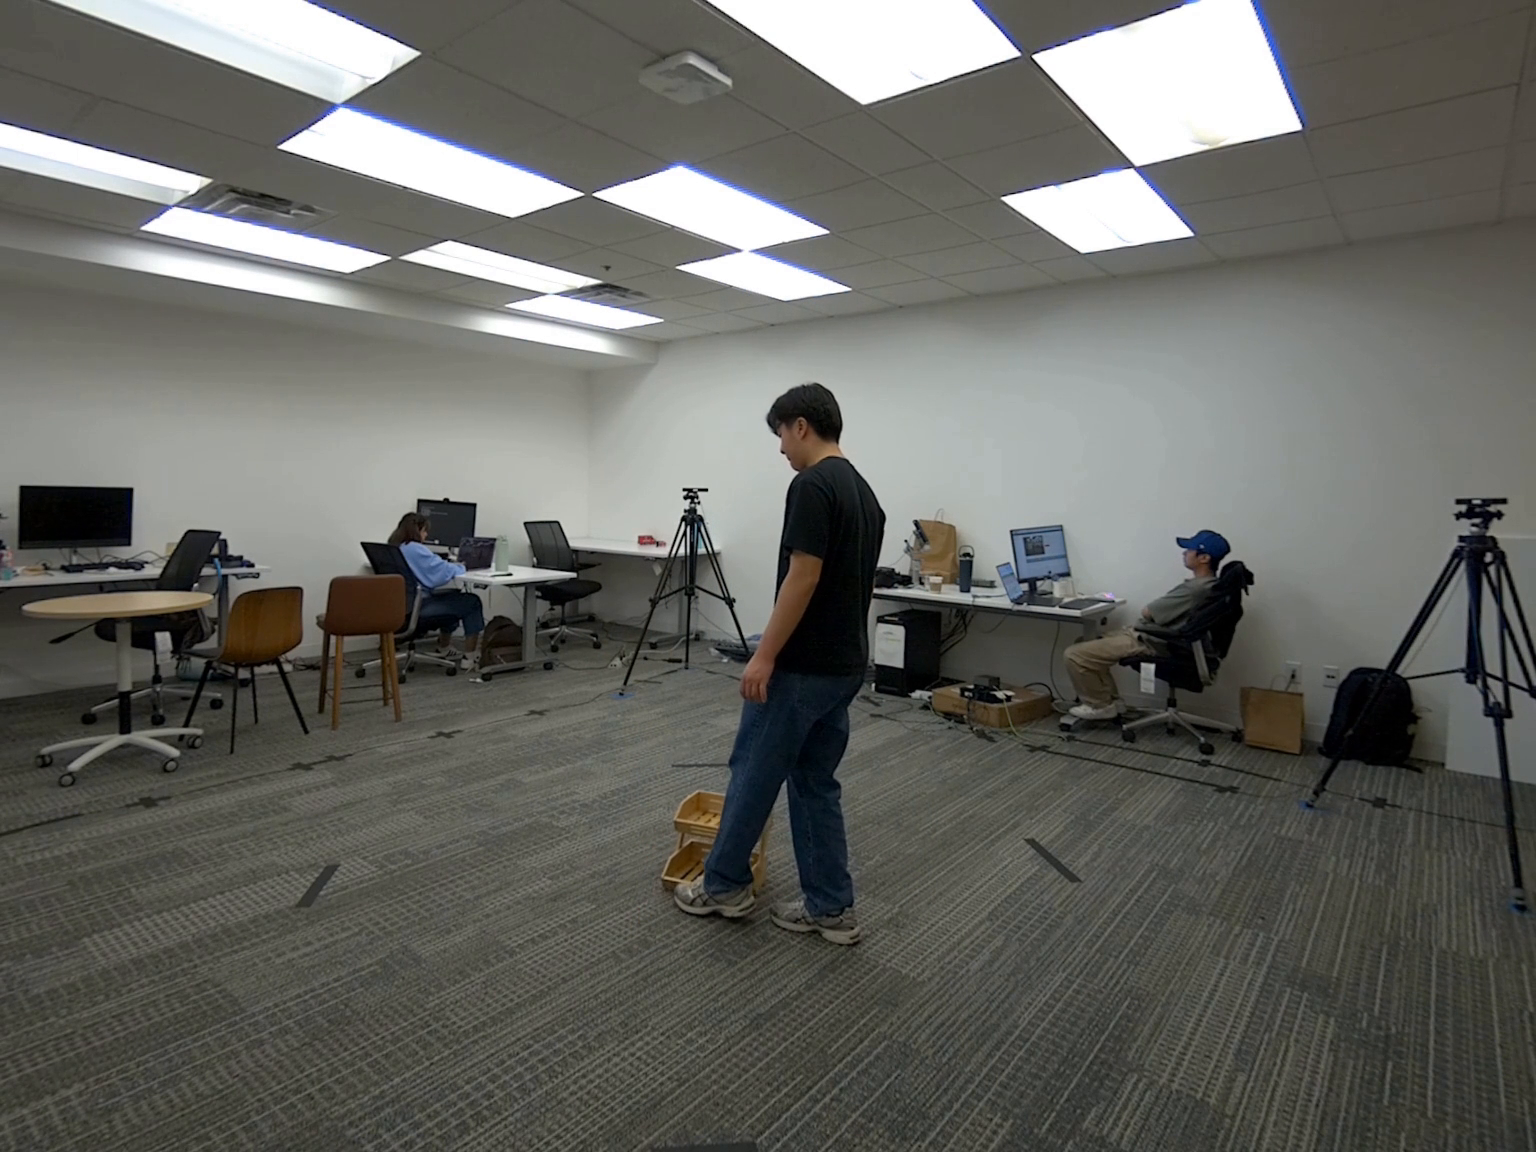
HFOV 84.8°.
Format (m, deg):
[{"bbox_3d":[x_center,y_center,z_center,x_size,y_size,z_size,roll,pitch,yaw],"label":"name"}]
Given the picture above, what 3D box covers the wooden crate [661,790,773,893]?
[{"bbox_3d":[-0.185,0.948,2.986,0.332,0.272,0.296,3,4,21],"label":"wooden crate"}]
